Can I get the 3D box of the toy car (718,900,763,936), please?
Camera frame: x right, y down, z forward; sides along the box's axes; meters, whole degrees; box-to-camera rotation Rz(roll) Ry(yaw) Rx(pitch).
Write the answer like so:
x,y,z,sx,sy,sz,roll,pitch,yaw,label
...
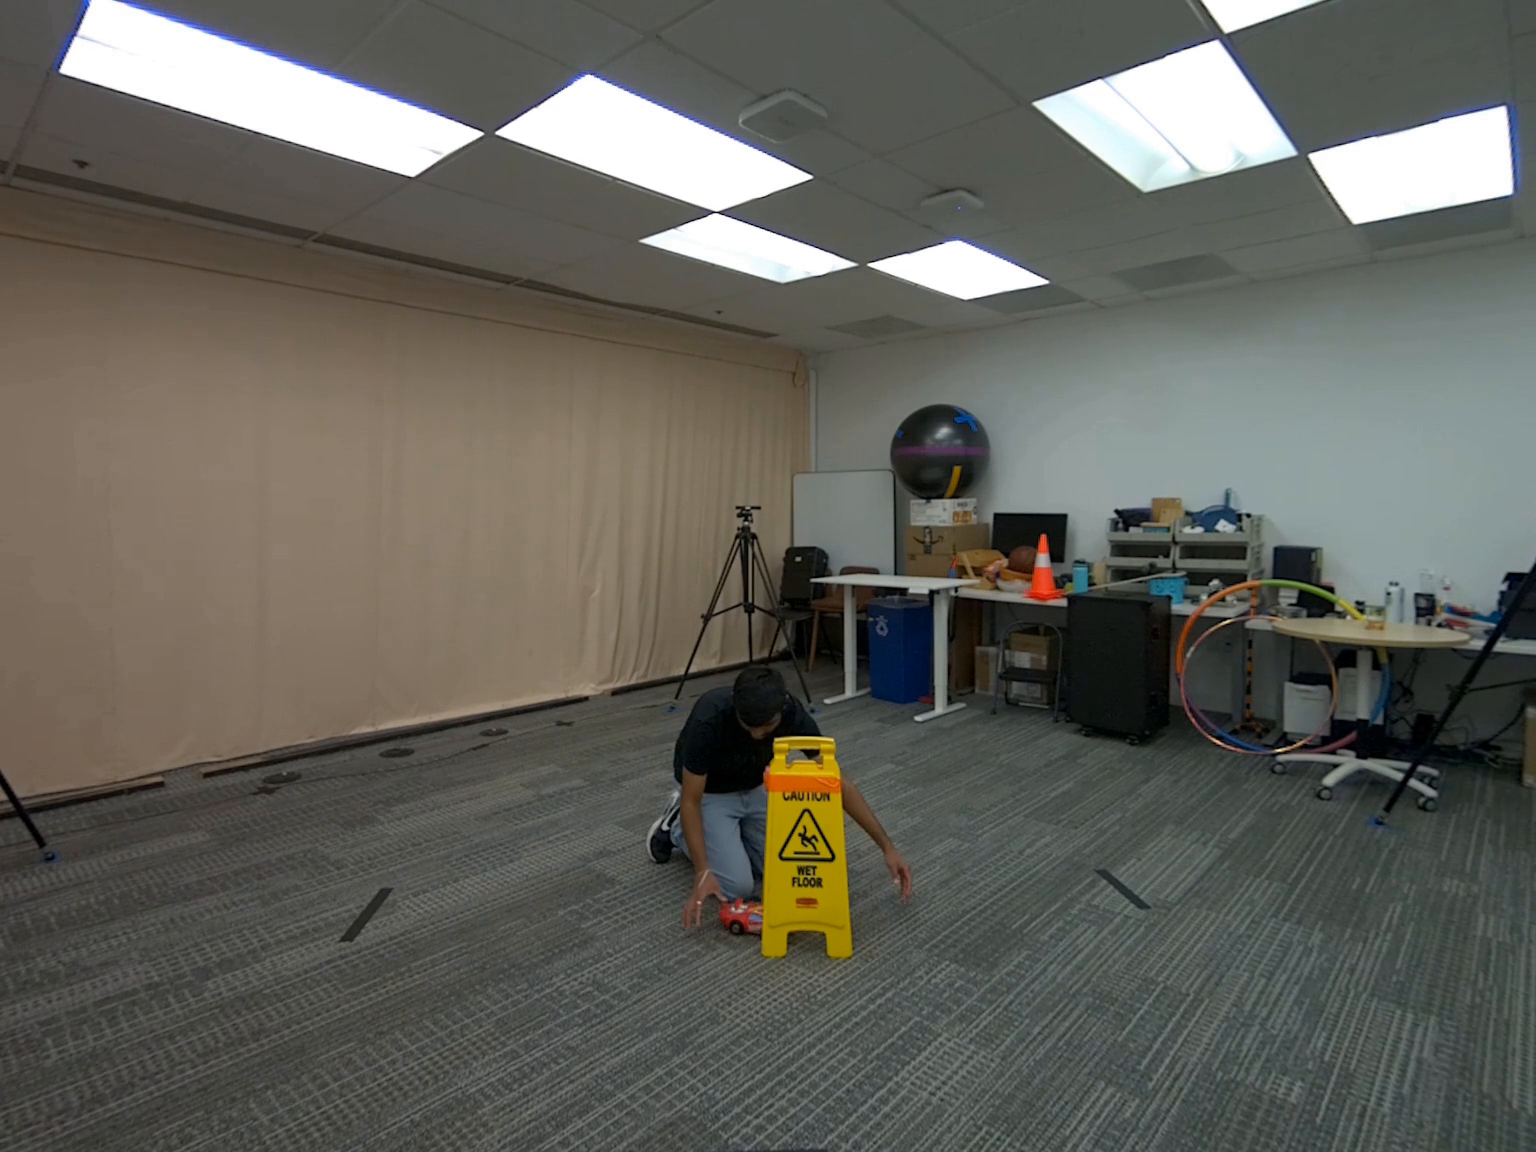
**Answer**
x,y,z,sx,sy,sz,roll,pitch,yaw,label
-0.025,1.122,2.767,0.260,0.083,0.128,13,9,18,toy car
